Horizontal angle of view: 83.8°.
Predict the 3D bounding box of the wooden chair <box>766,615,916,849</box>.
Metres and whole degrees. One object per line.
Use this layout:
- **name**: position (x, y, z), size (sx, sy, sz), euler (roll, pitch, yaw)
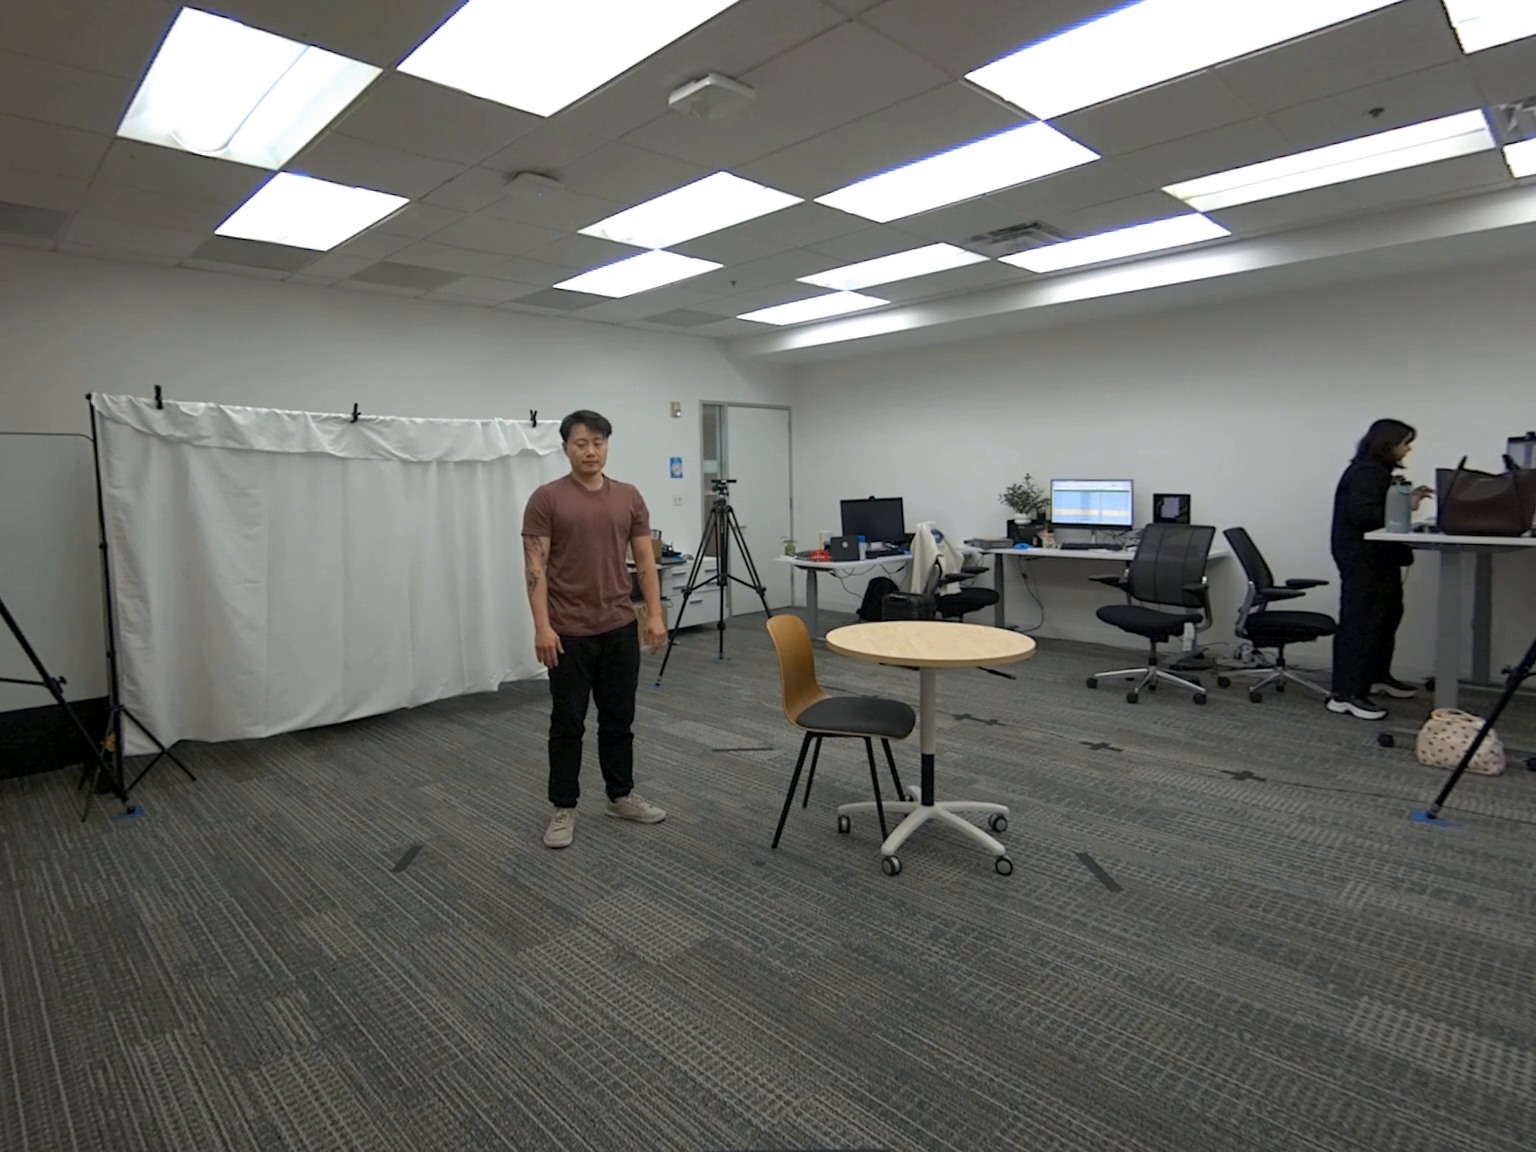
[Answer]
- **wooden chair**: position (0.293, 0.582, 3.319), size (0.533, 0.876, 0.470), euler (-4, 2, 21)
